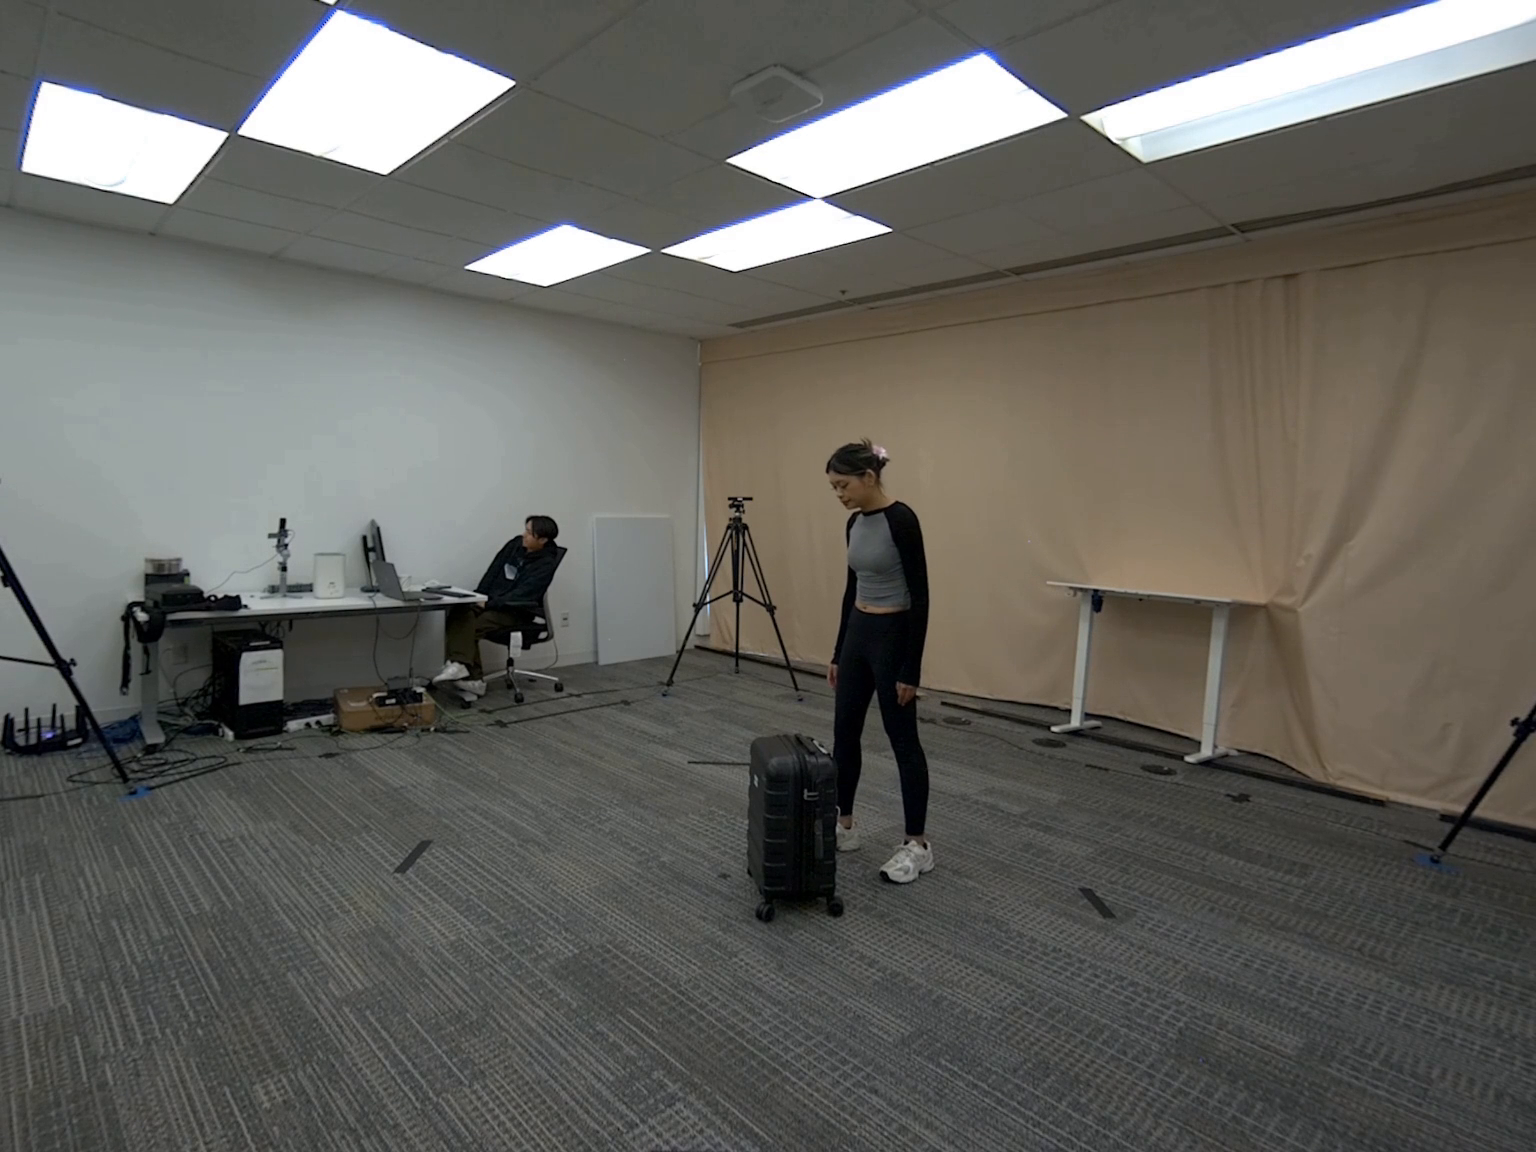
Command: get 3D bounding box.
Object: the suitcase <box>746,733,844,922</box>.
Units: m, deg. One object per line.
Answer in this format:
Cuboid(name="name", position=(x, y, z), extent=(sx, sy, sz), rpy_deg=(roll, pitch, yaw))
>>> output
Cuboid(name="suitcase", position=(0.072, 0.849, 2.942), extent=(0.246, 0.548, 0.379), rpy_deg=(0, 4, -11))
